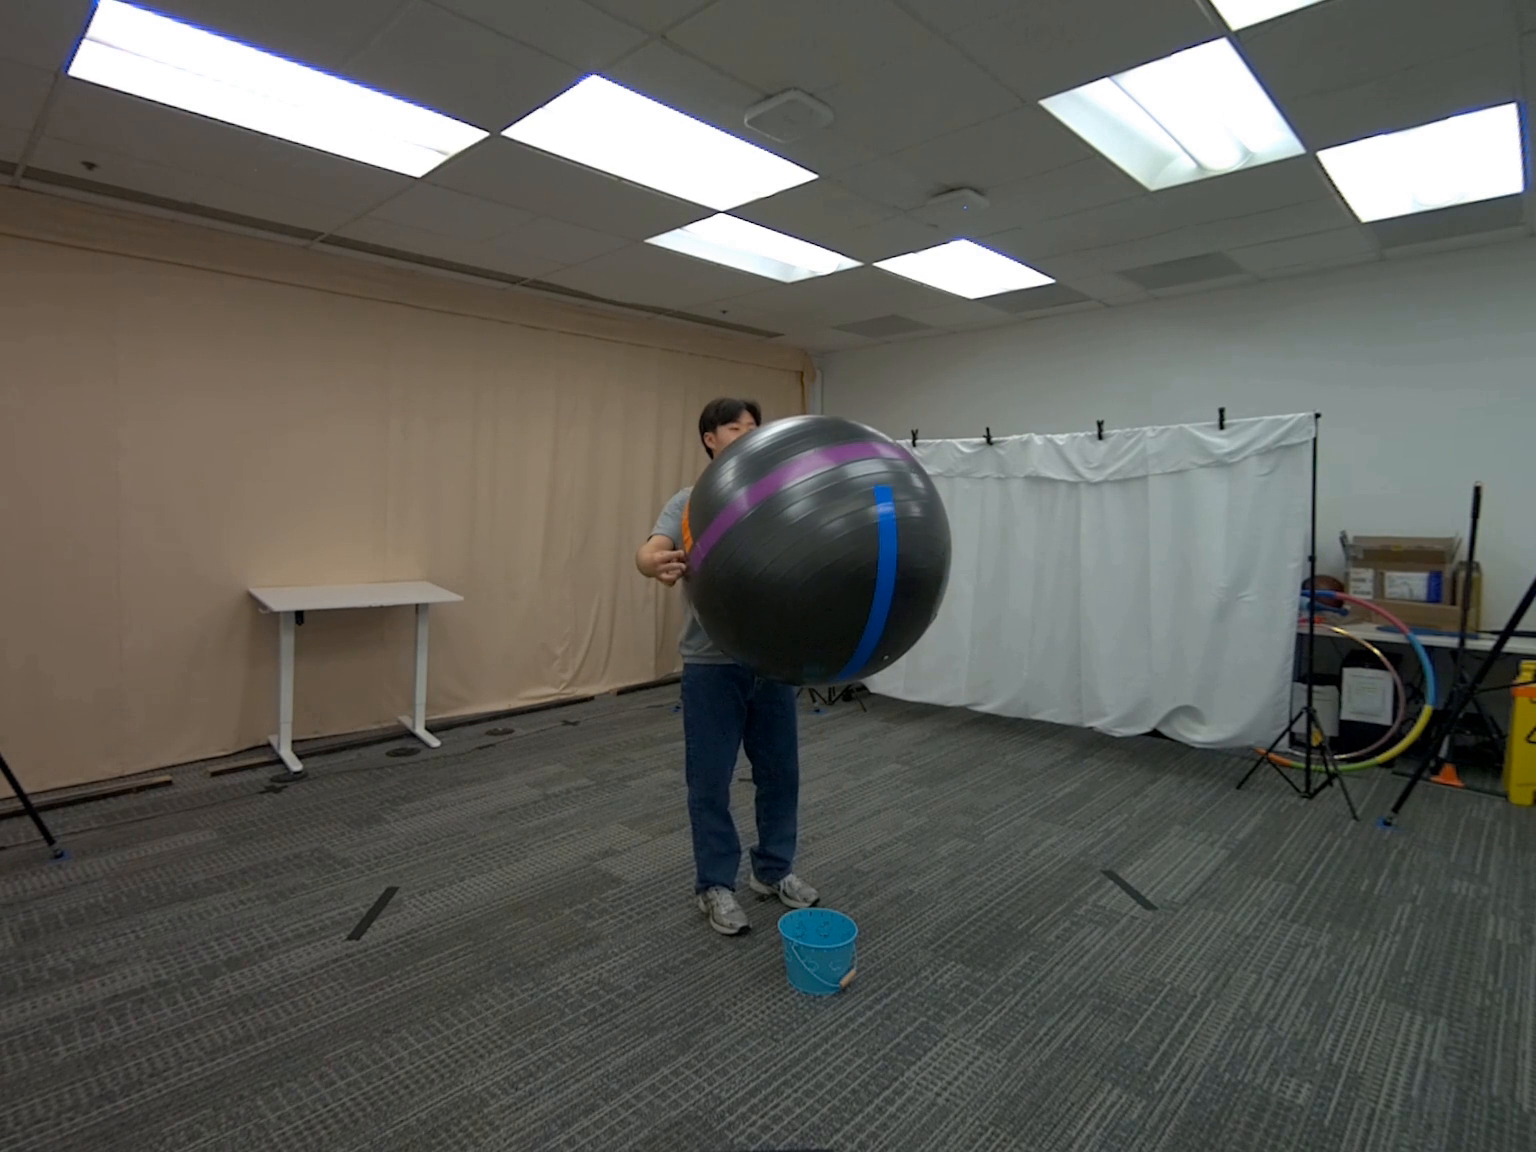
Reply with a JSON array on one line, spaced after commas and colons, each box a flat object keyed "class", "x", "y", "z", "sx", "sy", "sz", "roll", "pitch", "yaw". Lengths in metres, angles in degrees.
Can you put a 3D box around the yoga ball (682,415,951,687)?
[{"class": "yoga ball", "x": 0.127, "y": -0.065, "z": 2.359, "sx": 0.757, "sy": 0.756, "sz": 0.761, "roll": 0, "pitch": 4, "yaw": -2}]
